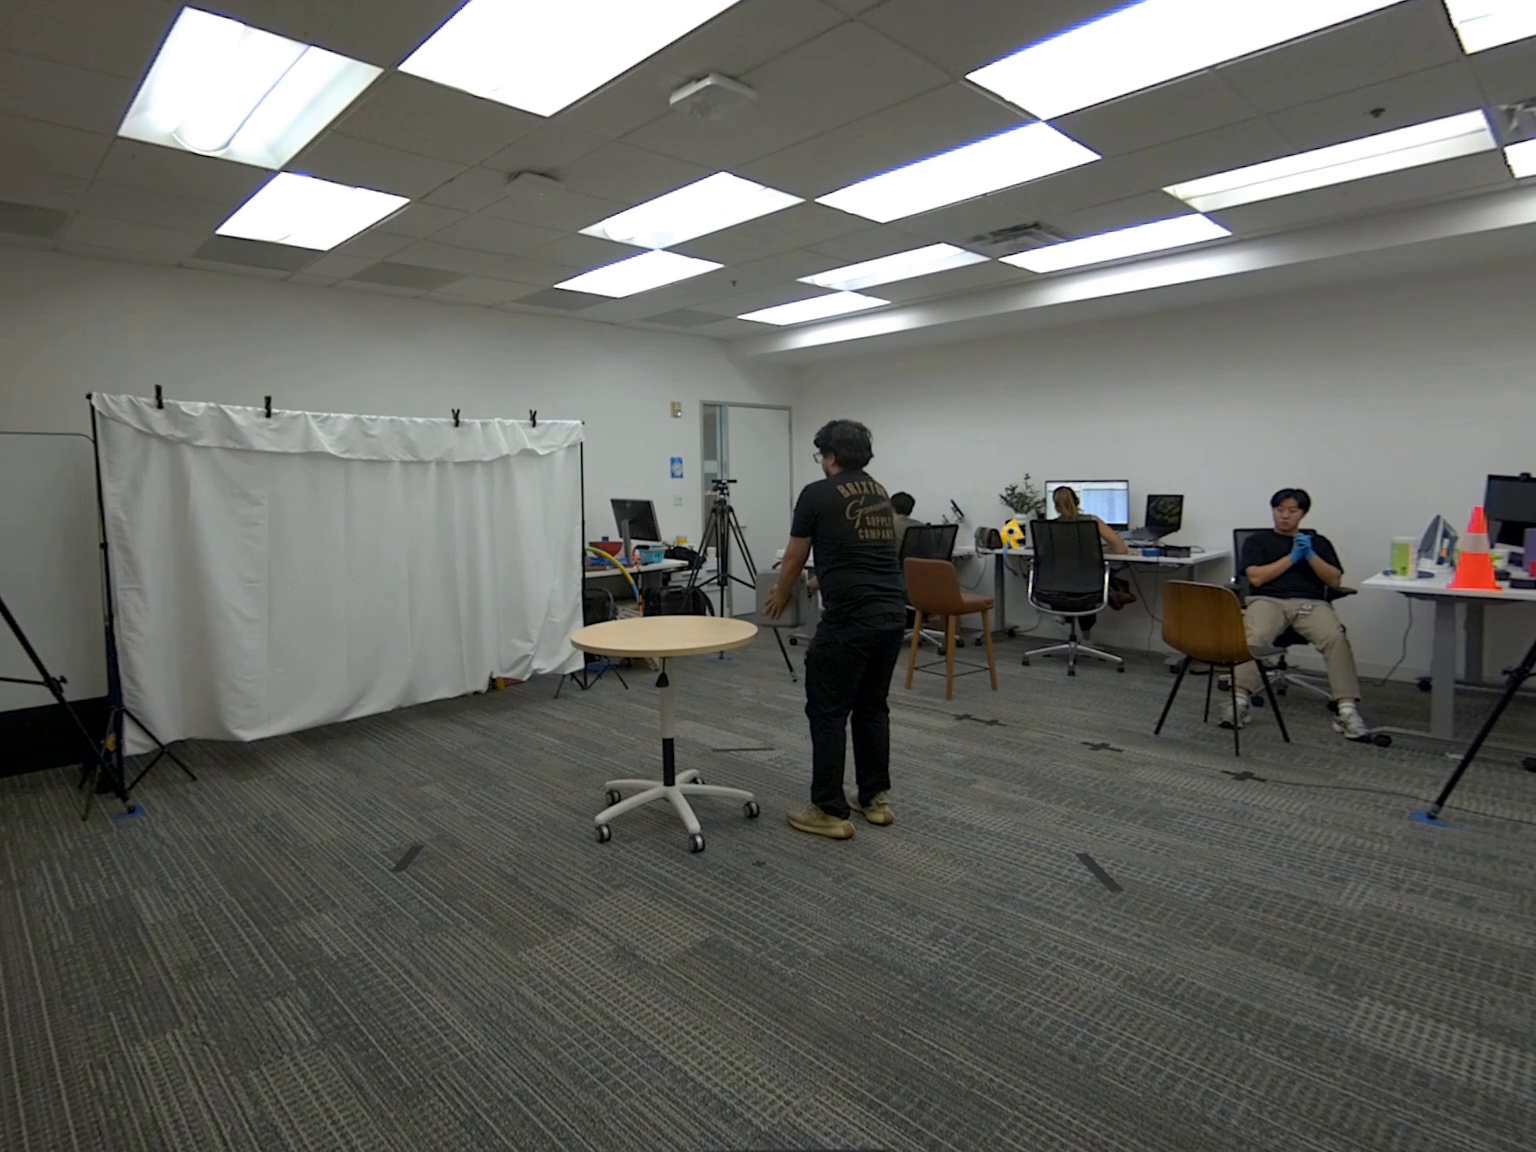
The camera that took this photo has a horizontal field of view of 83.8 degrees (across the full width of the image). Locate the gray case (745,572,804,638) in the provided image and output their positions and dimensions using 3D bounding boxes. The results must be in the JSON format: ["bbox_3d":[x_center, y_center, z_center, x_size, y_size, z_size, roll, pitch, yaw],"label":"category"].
[{"bbox_3d":[0.059,0.098,3.820,0.101,0.261,0.264,2,-3,-40],"label":"gray case"}]
